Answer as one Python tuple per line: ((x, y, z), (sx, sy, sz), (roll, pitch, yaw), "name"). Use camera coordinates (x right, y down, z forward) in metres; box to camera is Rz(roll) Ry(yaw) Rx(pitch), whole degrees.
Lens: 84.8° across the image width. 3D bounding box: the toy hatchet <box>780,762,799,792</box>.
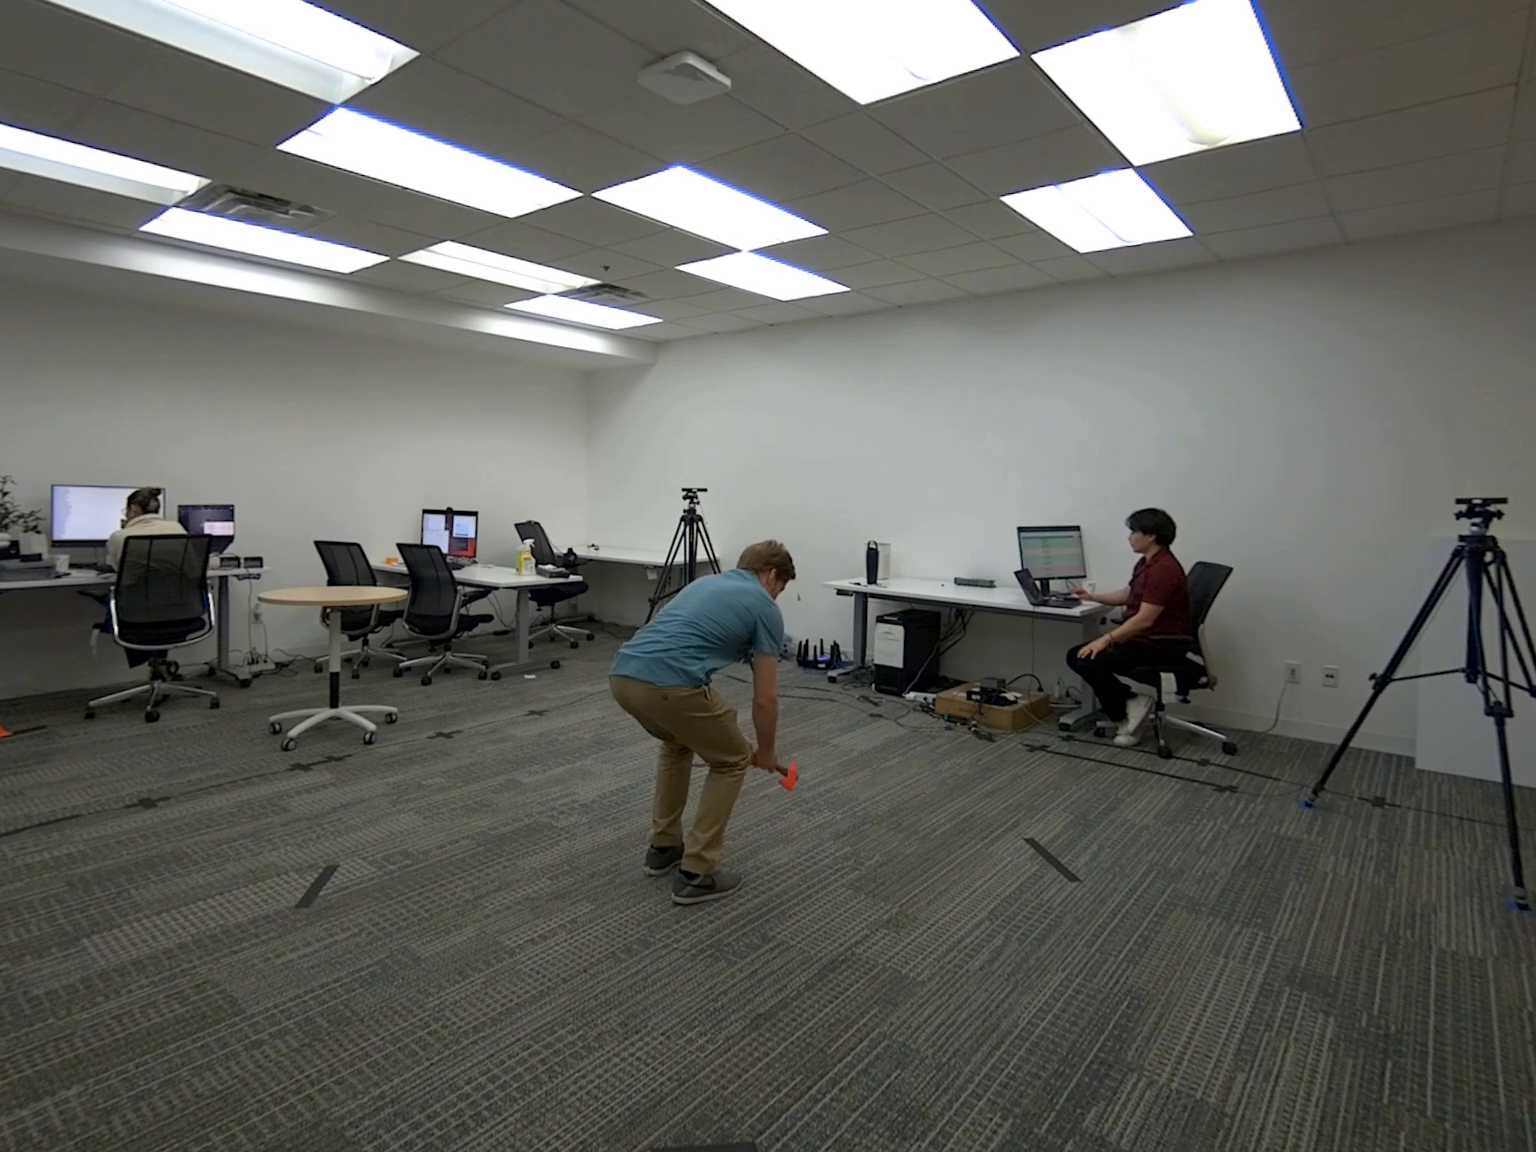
((-0.004, 0.752, 3.231), (0.263, 0.136, 0.029), (5, -43, -27), "toy hatchet")
